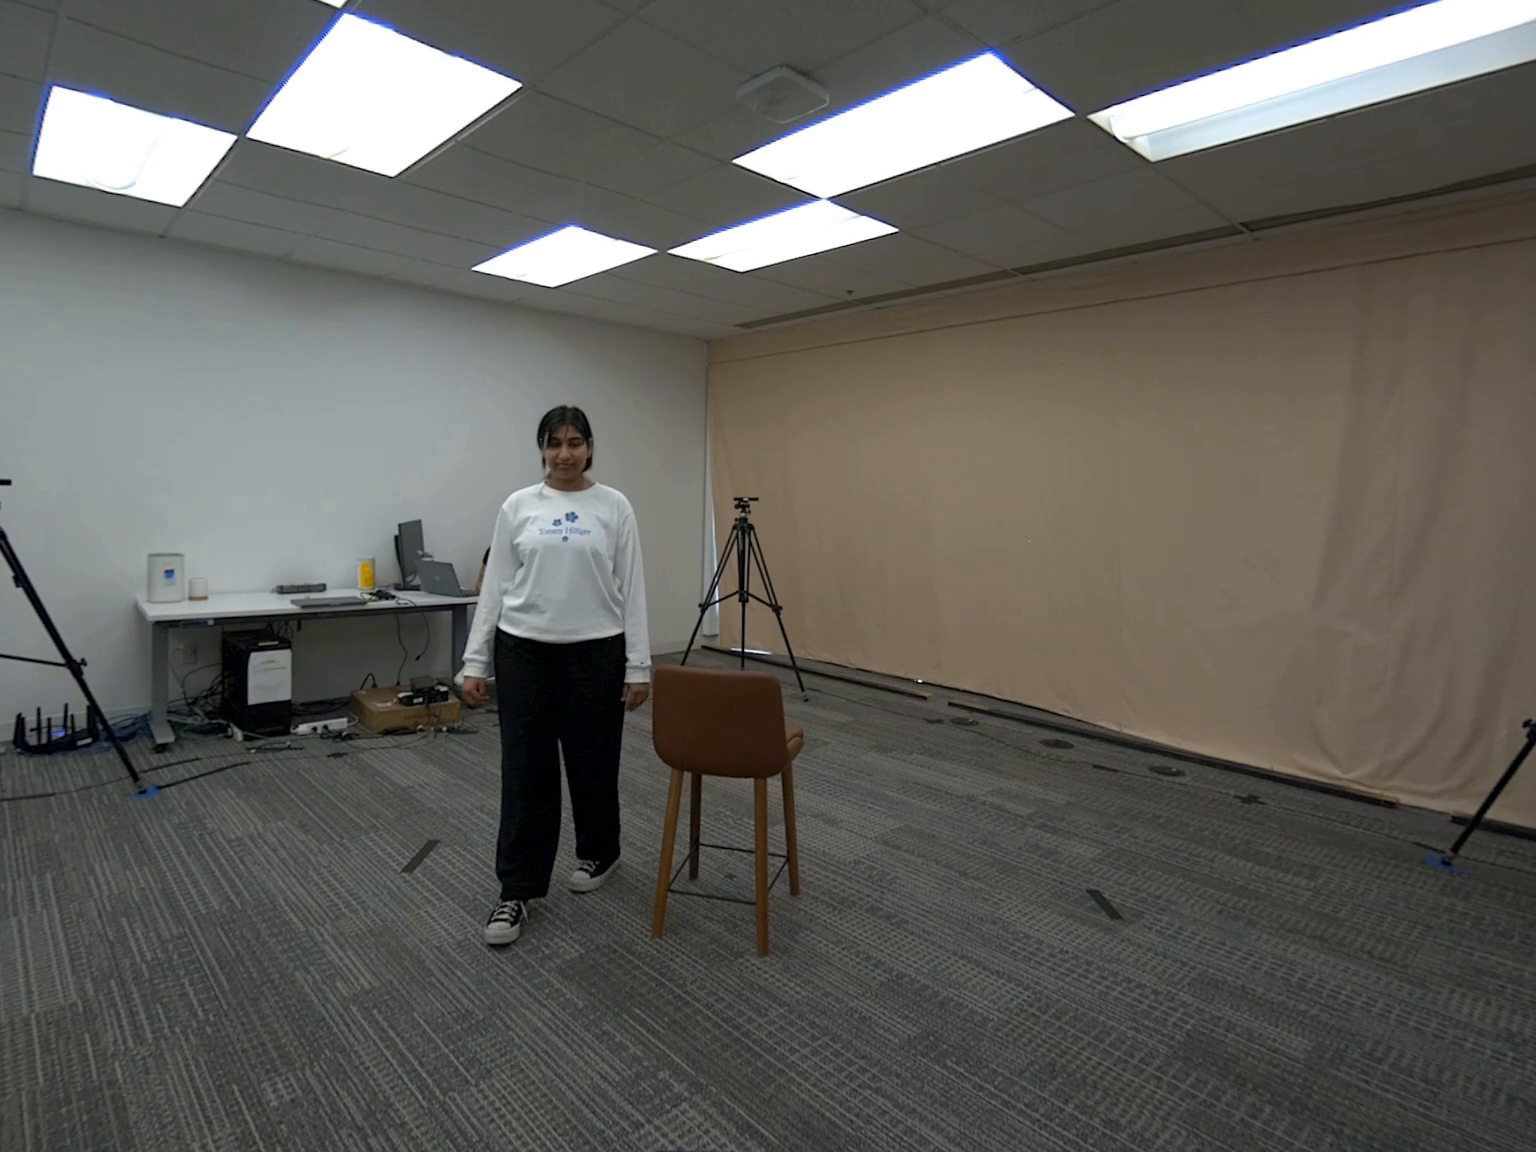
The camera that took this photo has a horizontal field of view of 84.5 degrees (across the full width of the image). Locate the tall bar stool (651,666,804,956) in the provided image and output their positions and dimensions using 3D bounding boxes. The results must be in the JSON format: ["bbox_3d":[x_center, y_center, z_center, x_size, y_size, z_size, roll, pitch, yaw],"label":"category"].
[{"bbox_3d":[-0.135,0.703,2.788,0.462,0.886,0.463,2,5,16],"label":"tall bar stool"}]
